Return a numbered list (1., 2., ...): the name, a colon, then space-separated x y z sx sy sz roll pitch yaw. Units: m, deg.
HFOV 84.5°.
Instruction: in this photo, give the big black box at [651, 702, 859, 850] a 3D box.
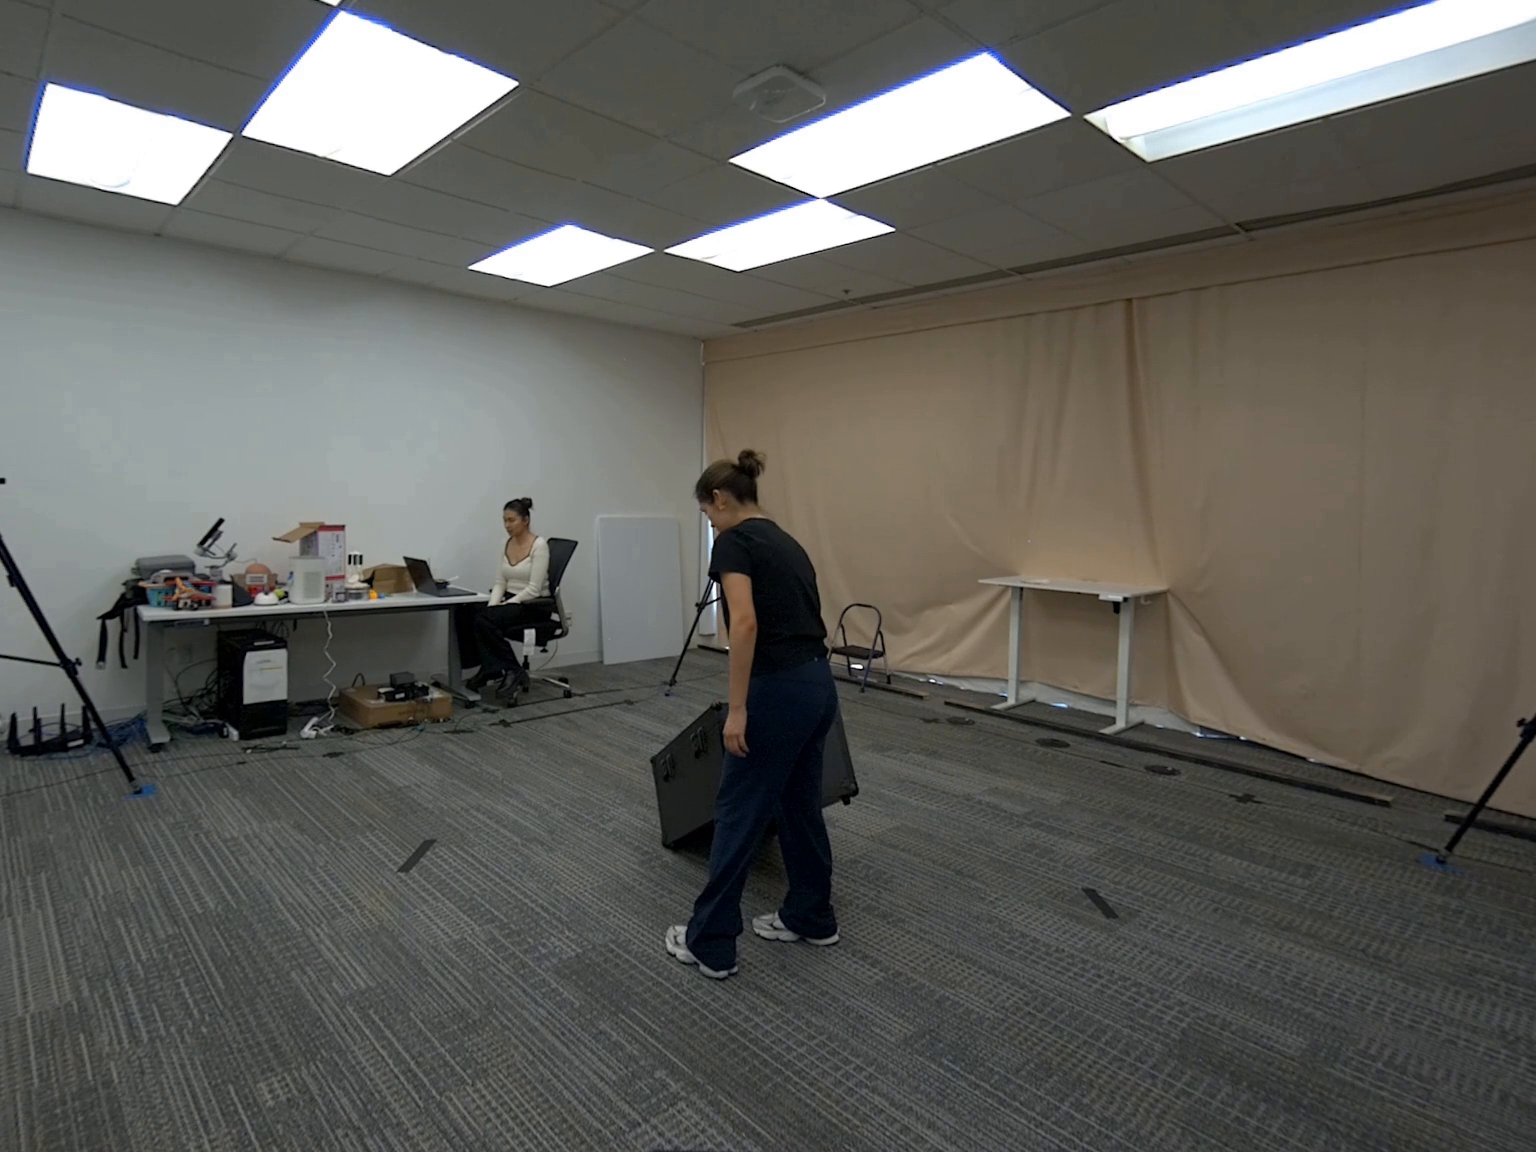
1. big black box: -0.095 0.778 3.206 0.512 0.404 0.861 0 -24 -25
